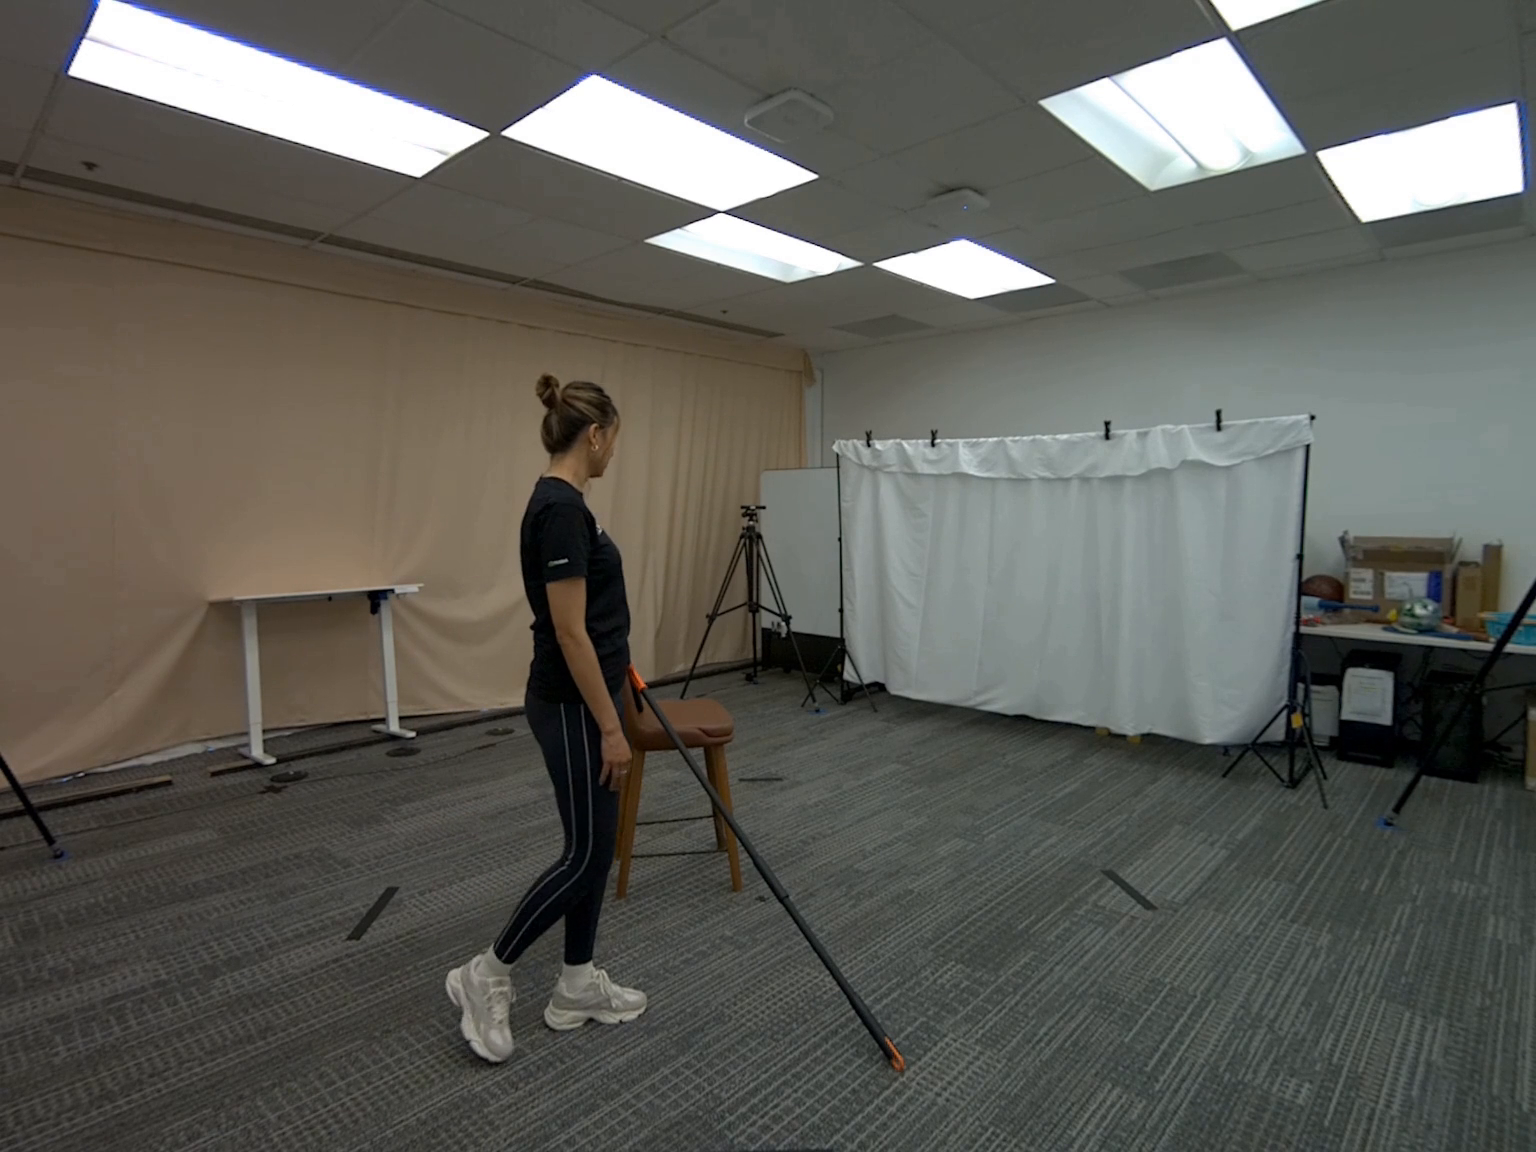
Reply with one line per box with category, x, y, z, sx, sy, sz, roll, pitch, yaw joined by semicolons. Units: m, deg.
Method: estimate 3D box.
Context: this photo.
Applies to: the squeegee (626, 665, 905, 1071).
squeegee;-0.072;0.767;2.608;0.052;0.430;1.593;-20;43;-26
